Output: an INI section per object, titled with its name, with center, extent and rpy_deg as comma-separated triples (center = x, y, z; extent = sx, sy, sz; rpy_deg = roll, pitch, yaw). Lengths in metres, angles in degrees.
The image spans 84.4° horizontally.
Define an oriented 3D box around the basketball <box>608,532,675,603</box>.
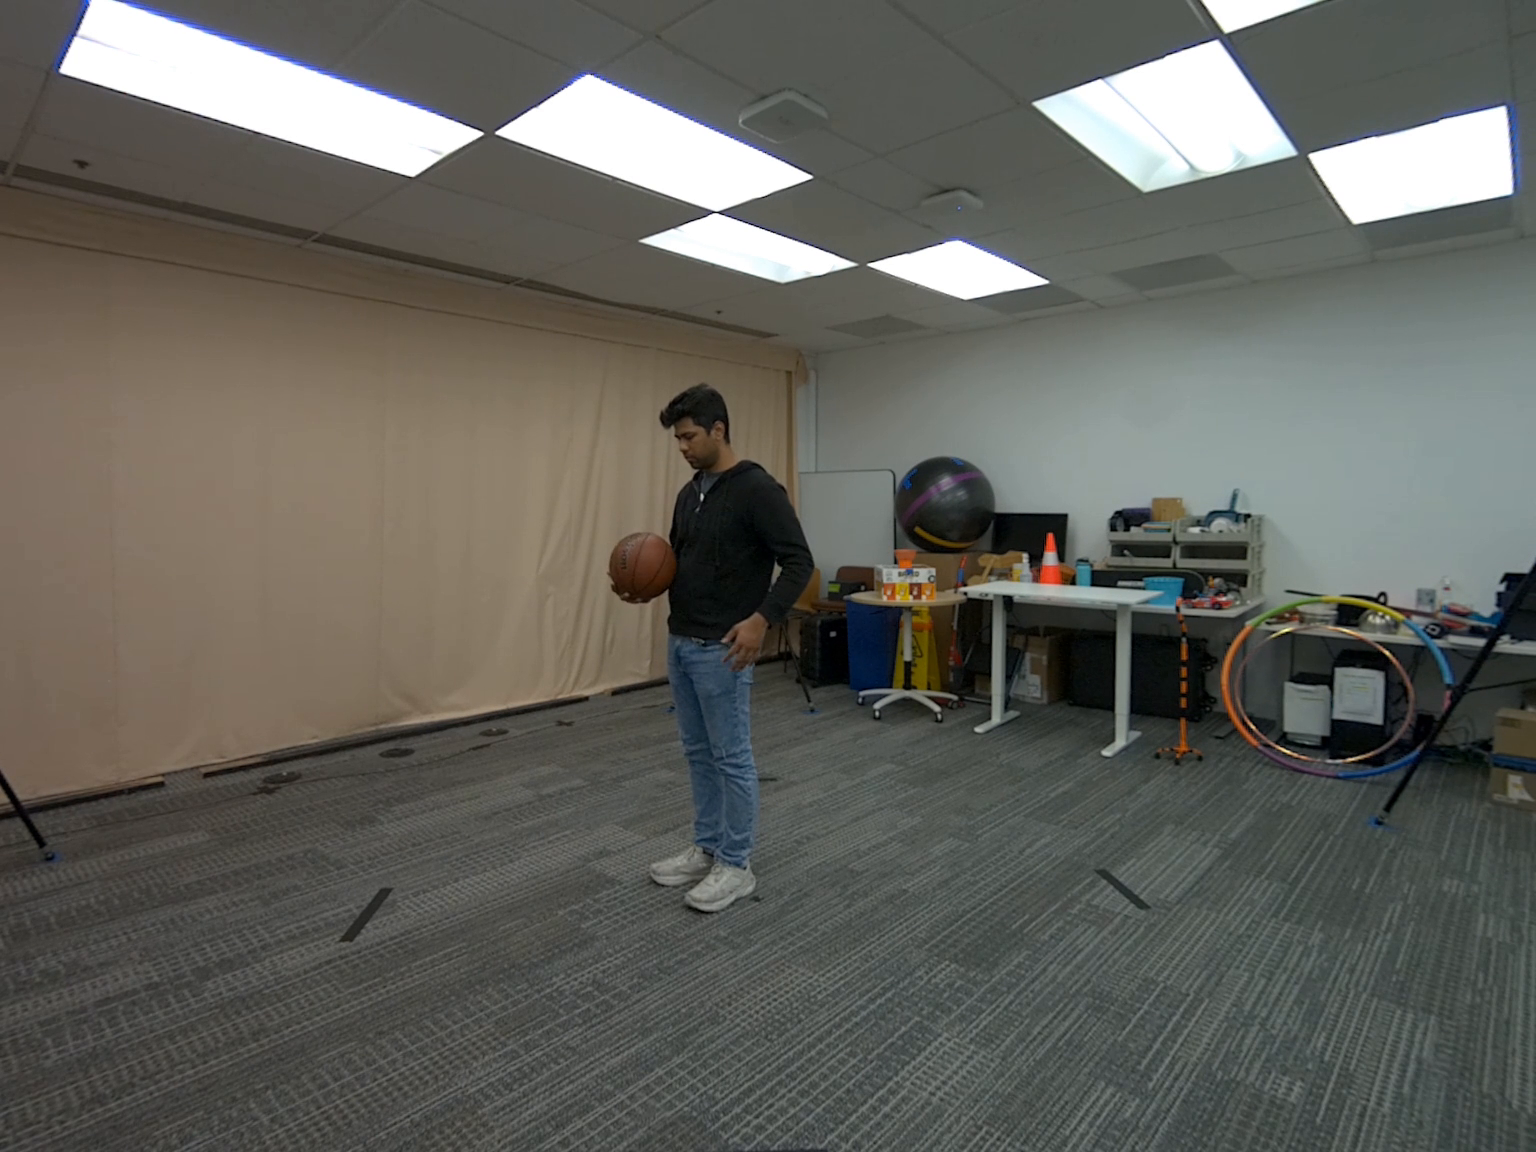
[basketball]
center = -0.435, -0.043, 2.964
extent = 0.236, 0.235, 0.237
rpy_deg = 0, 4, -2
